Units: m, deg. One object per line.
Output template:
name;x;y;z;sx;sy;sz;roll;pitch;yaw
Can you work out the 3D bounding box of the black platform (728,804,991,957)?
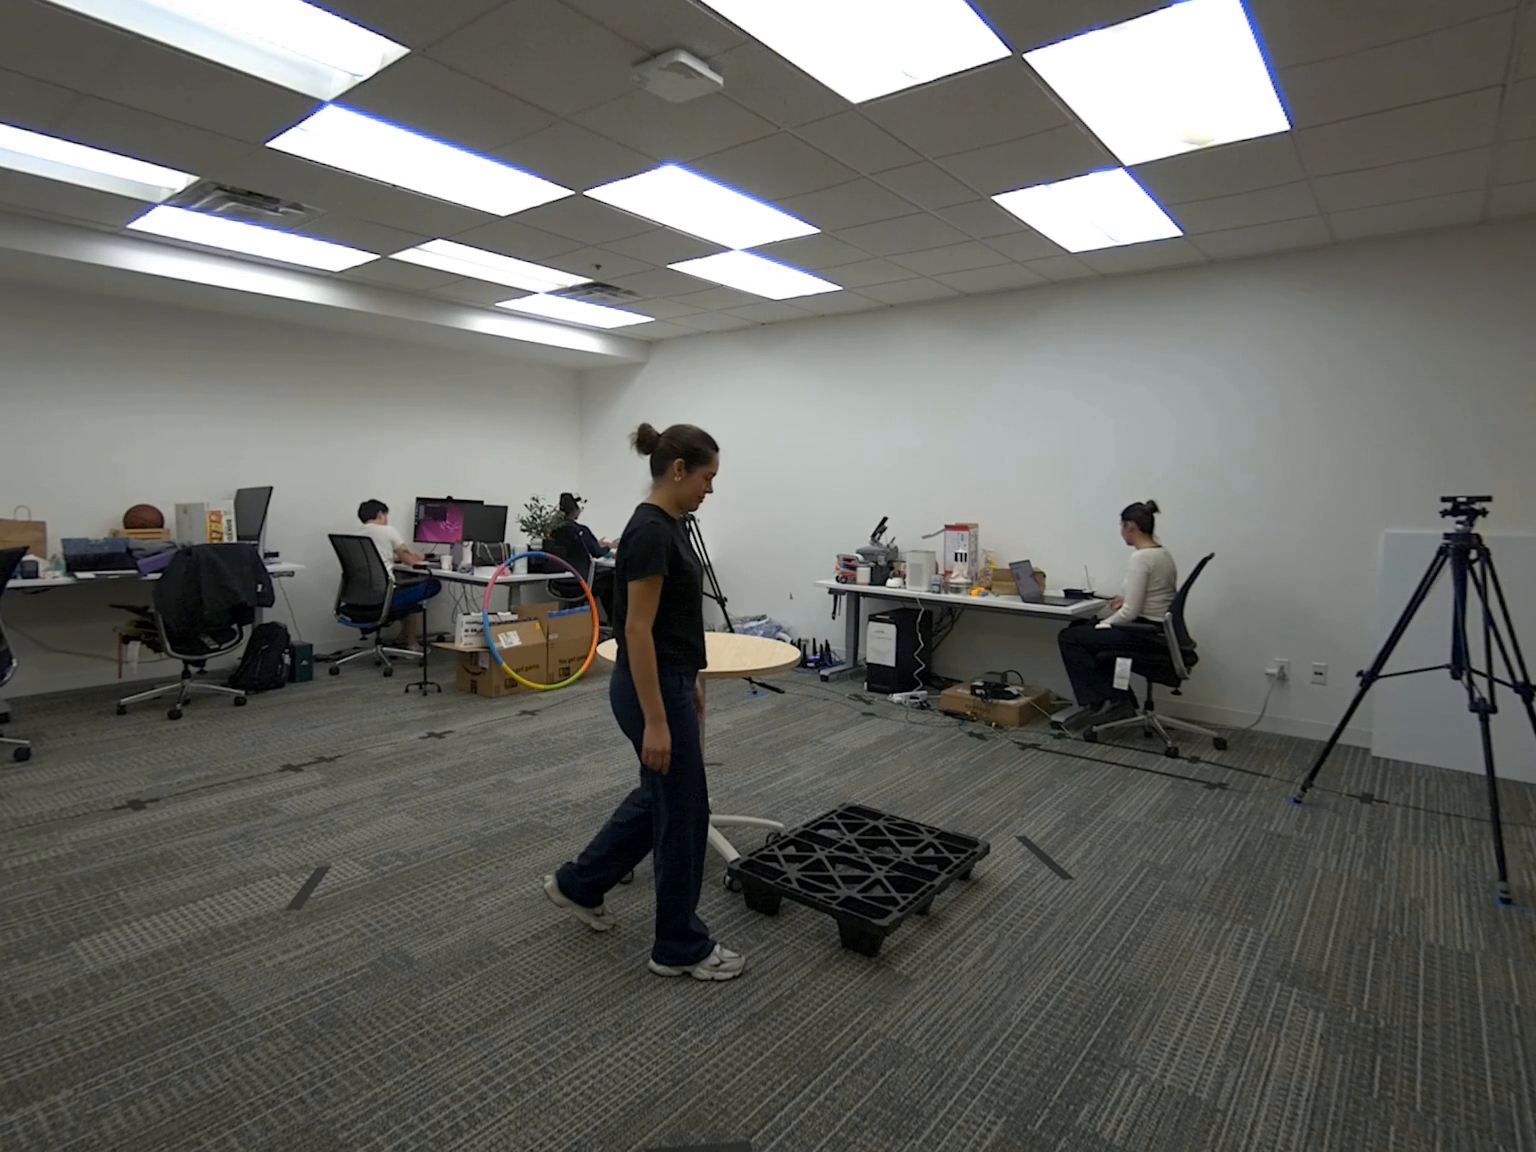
black platform;0.342;1.025;2.964;0.625;0.143;0.782;5;7;38
